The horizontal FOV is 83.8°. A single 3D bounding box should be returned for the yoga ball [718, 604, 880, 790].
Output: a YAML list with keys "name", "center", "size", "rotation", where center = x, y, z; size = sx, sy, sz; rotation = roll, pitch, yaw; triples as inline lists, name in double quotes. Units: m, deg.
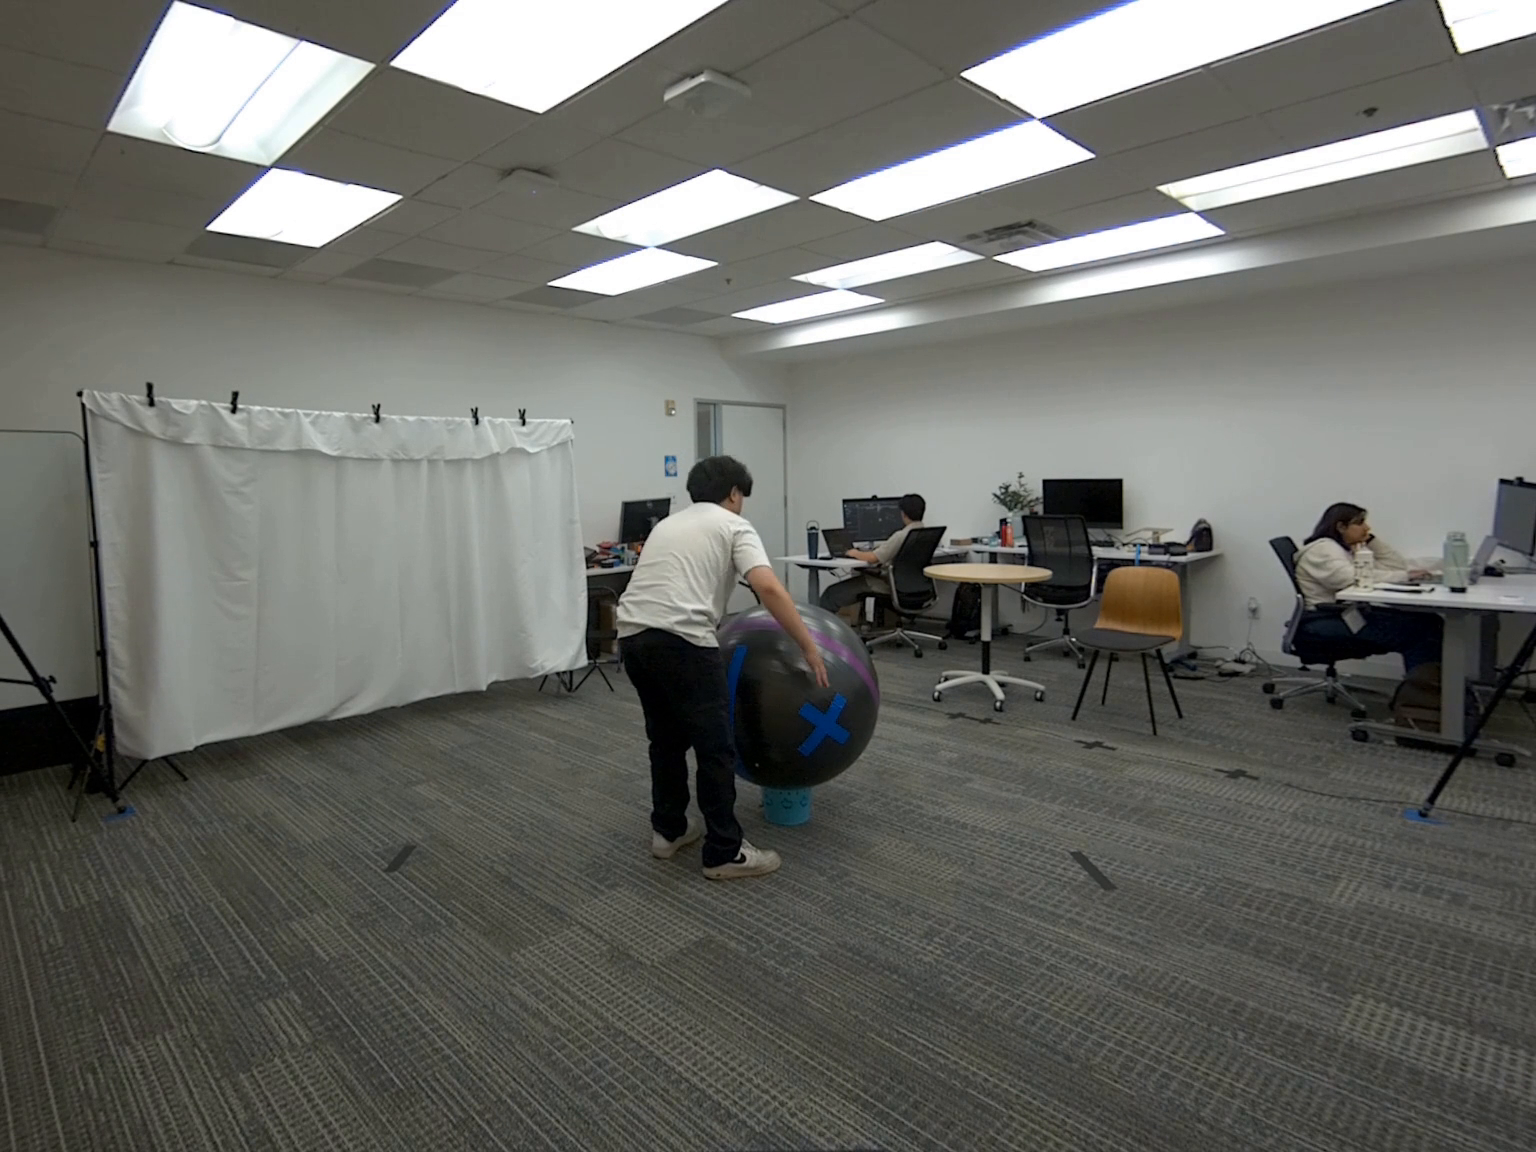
- name: "yoga ball"
  center: [0.081, 0.490, 3.501]
  size: [0.757, 0.755, 0.762]
  rotation: [-1, 5, -2]
